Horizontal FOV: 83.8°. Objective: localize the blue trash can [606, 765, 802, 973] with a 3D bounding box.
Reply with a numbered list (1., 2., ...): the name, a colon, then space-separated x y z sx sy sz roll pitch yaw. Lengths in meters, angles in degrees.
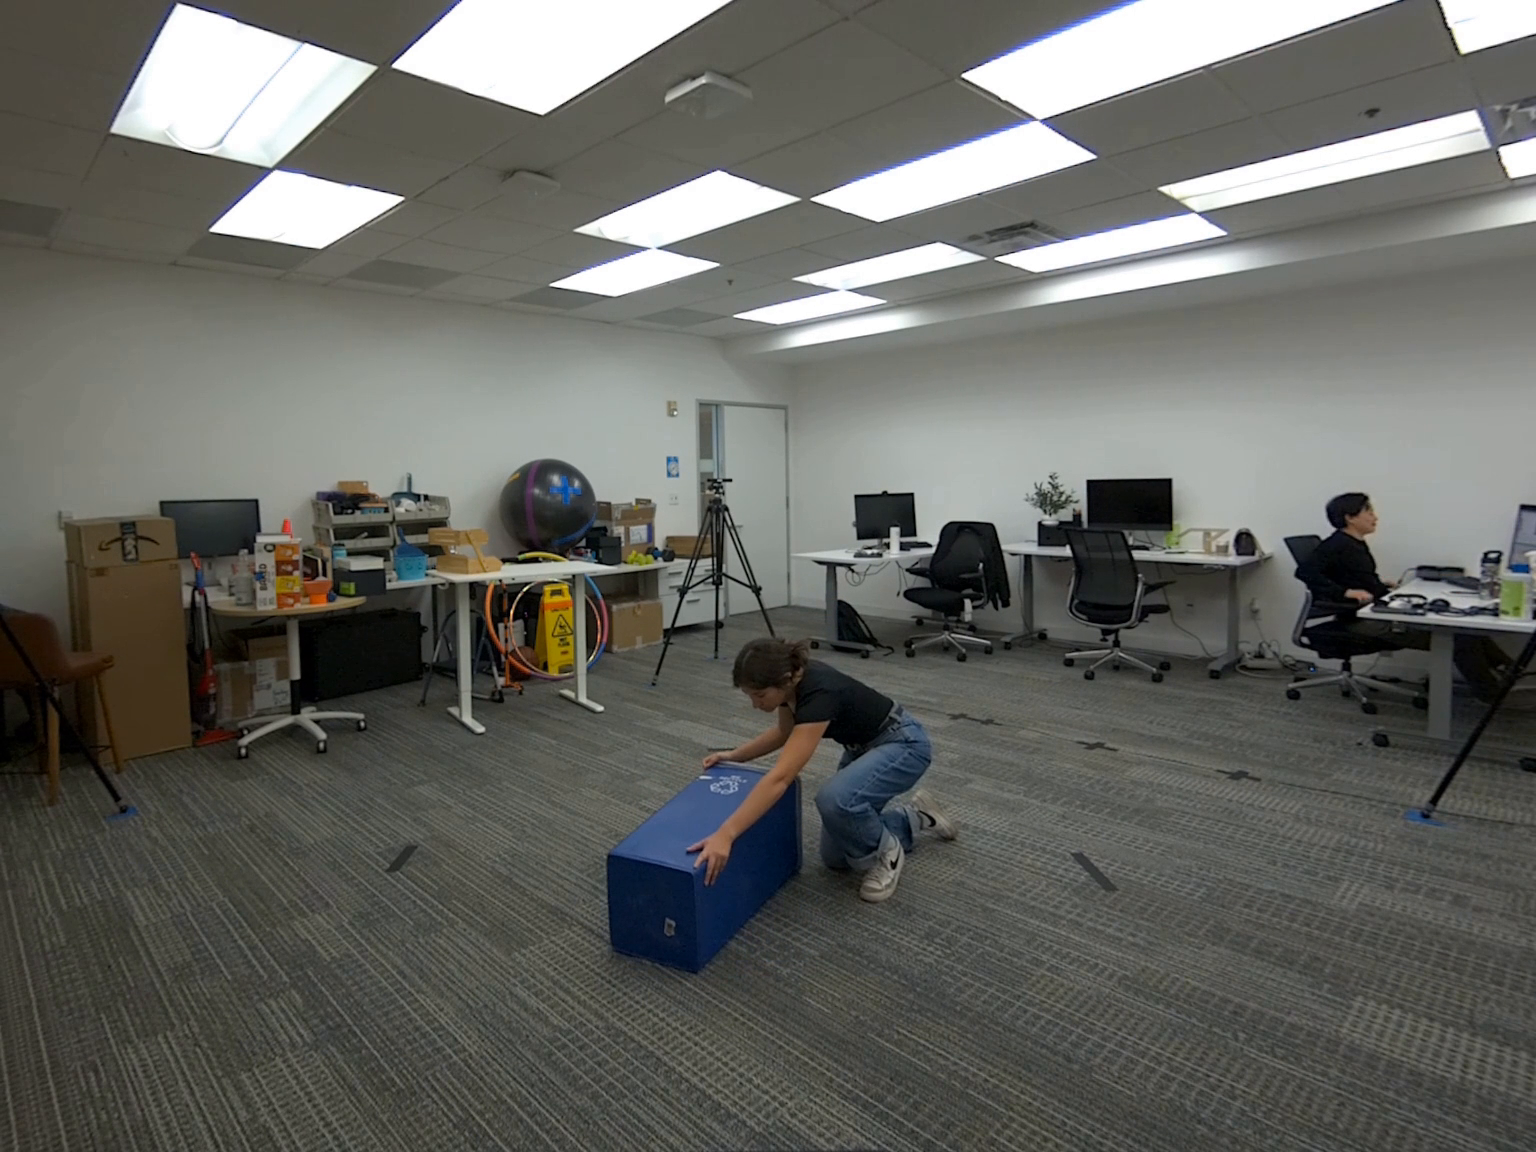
1. blue trash can: -0.184 0.919 2.778 0.383 0.375 0.702 2 10 24
